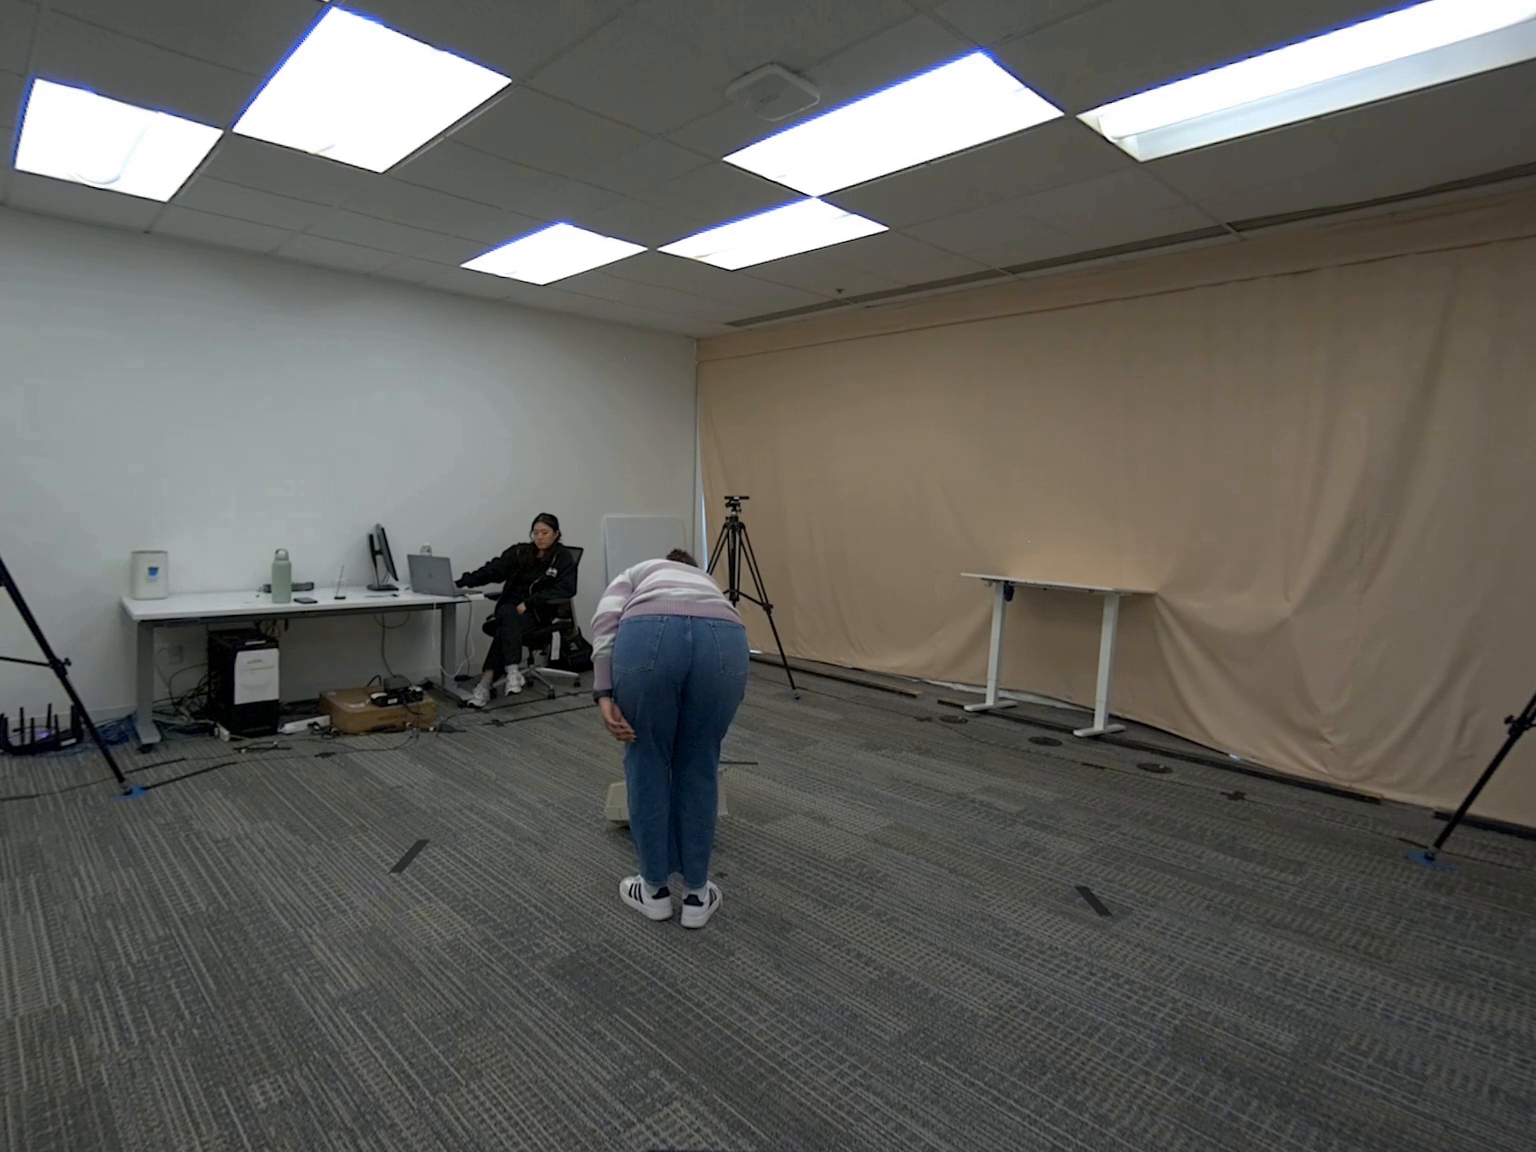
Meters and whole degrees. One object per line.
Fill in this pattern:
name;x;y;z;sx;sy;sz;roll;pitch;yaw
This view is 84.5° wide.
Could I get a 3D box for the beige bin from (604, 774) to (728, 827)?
beige bin;-0.422;0.918;3.443;0.370;0.191;0.426;0;-14;-30
